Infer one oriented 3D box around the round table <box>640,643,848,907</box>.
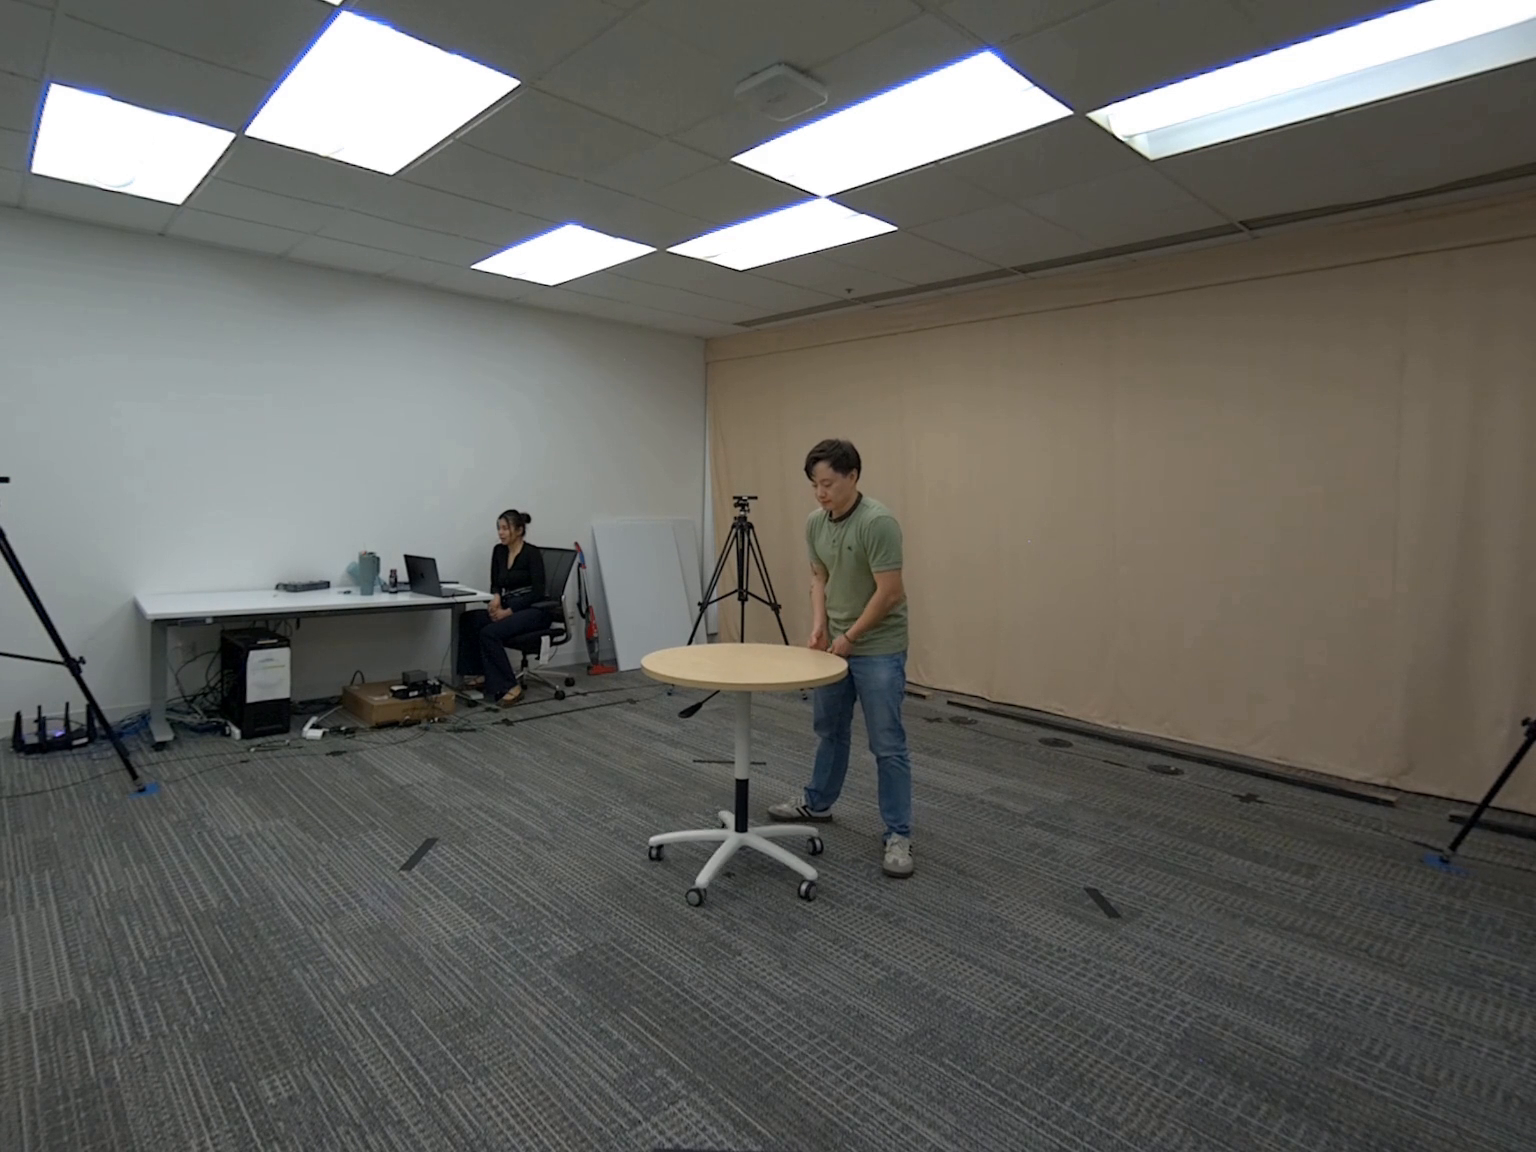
[{"bbox_3d":[-0.107,0.710,3.141,0.763,0.792,0.767,1,4,-1],"label":"round table"}]
